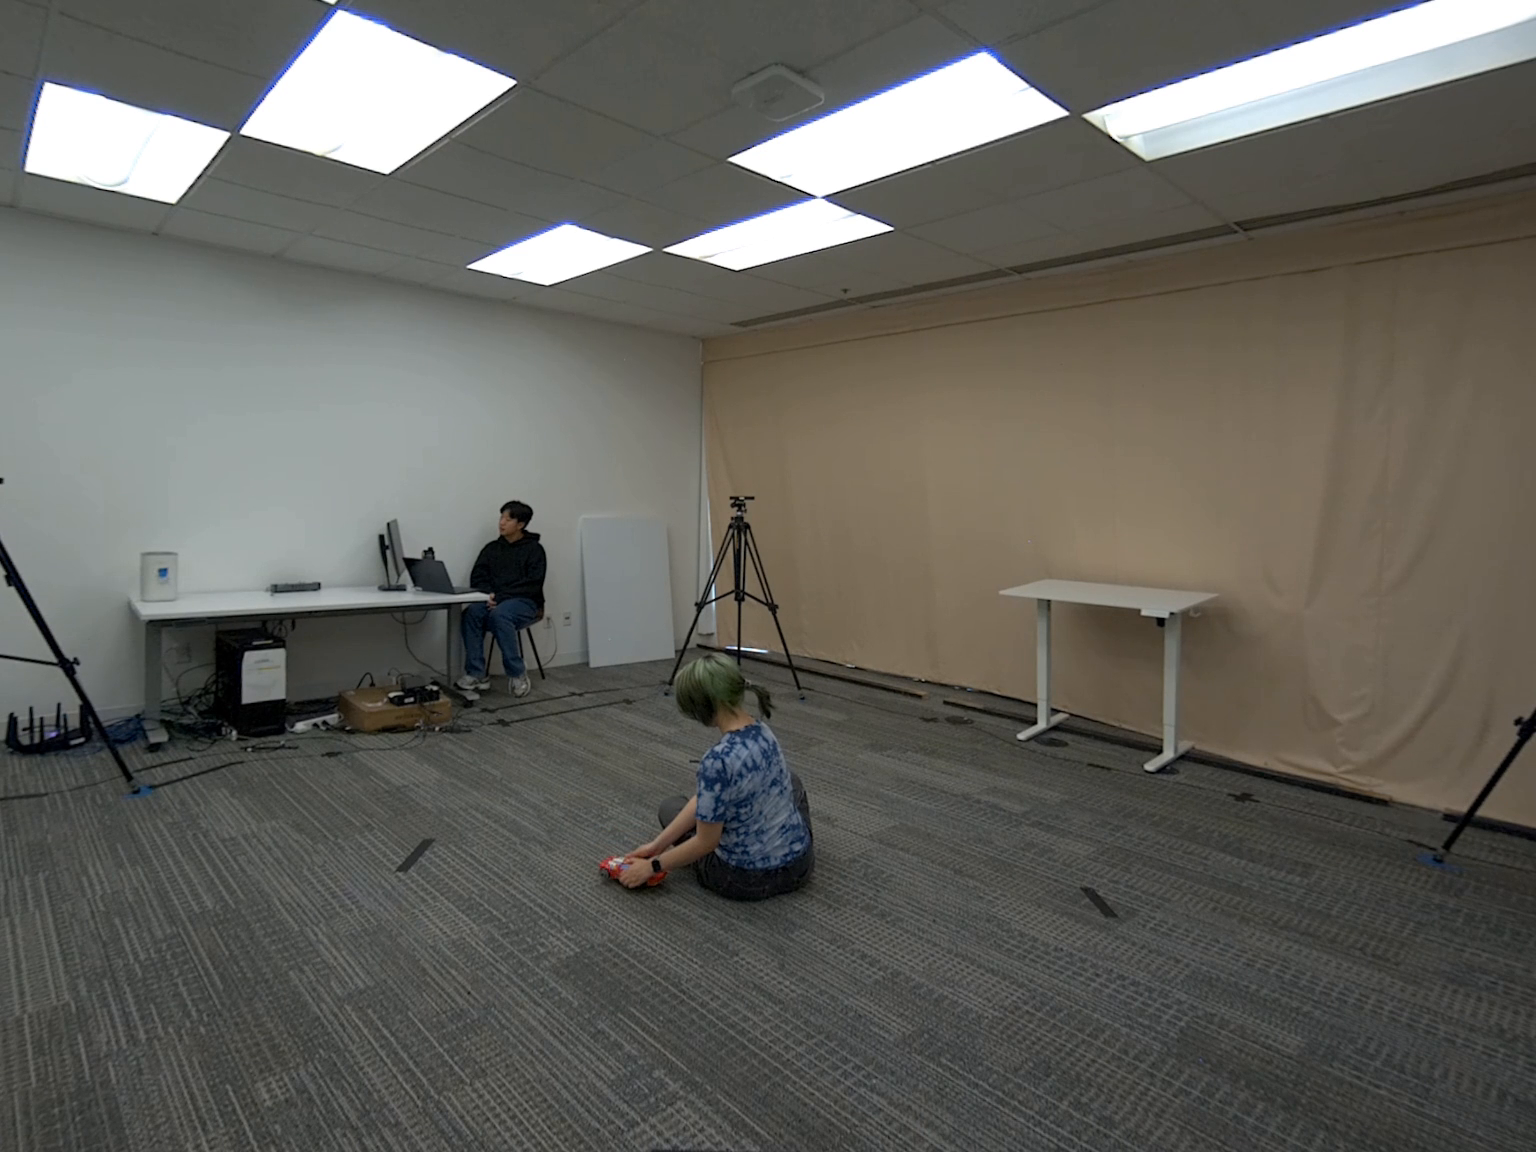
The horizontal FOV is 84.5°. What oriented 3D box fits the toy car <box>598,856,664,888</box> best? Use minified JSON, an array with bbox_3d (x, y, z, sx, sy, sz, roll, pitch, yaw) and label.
[{"bbox_3d":[-0.482,1.058,3.013,0.259,0.083,0.128,-4,-2,23],"label":"toy car"}]
